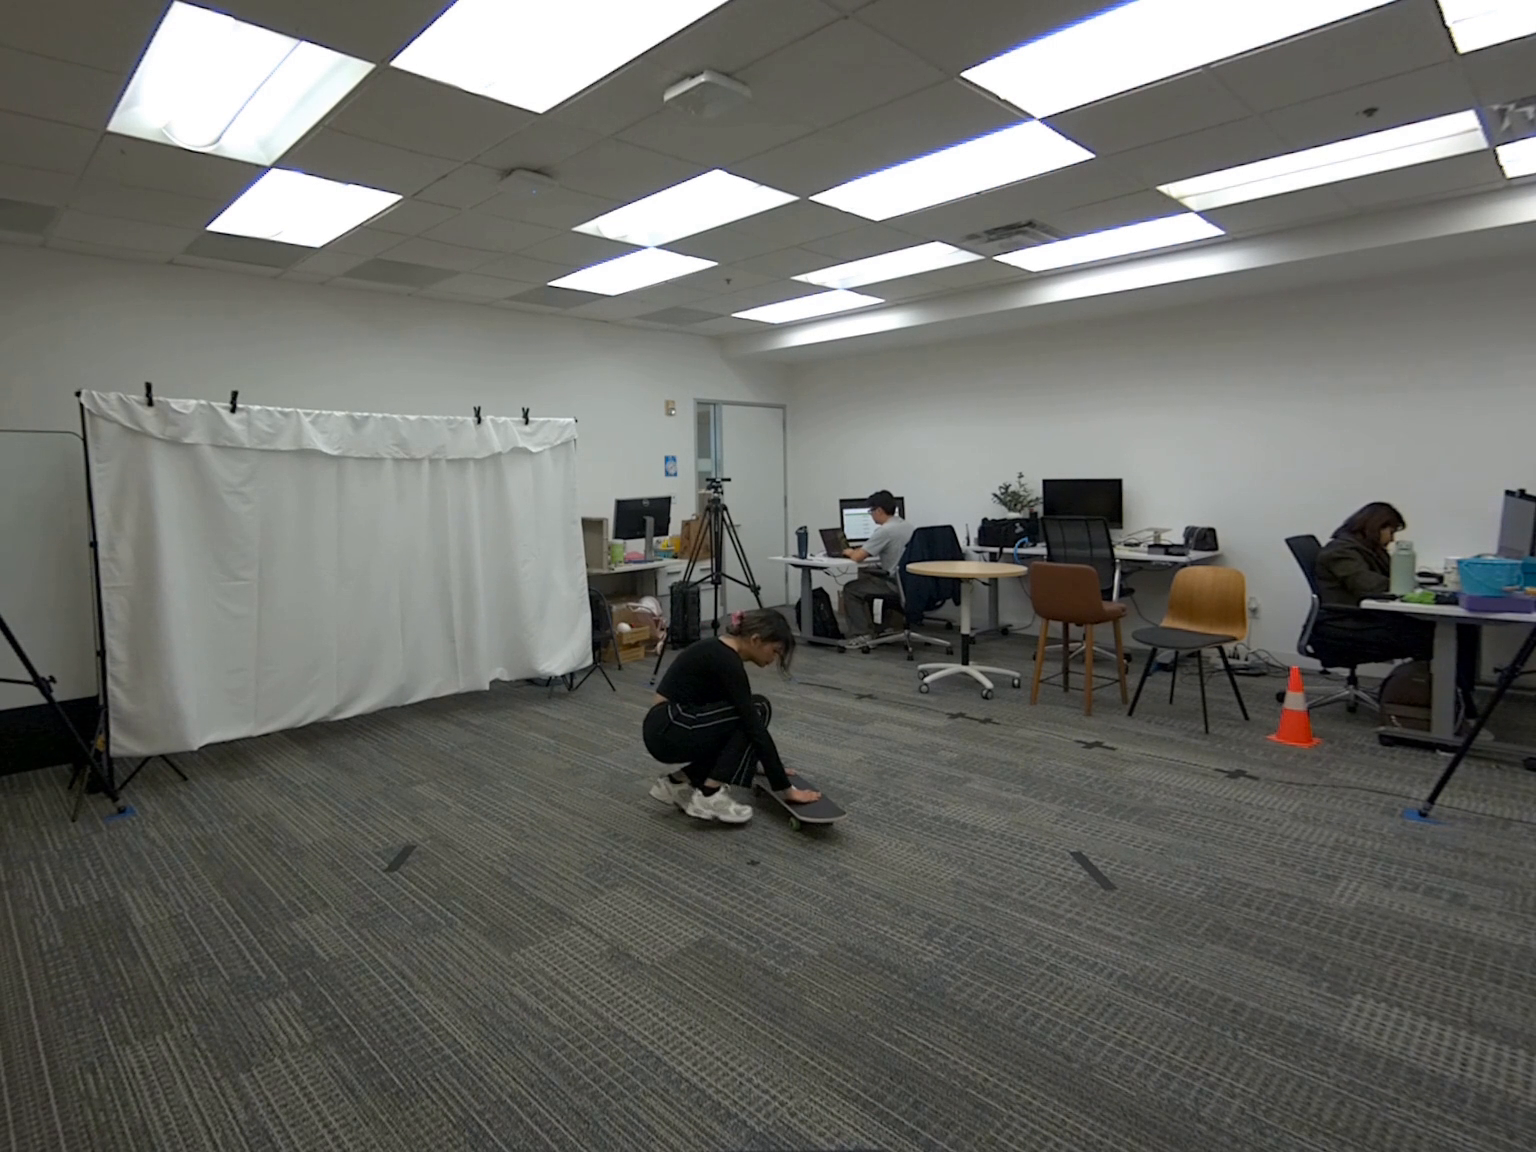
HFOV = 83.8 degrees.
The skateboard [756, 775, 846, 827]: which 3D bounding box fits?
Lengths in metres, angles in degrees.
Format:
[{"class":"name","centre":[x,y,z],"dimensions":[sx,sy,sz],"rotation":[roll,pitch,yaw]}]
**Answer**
[{"class":"skateboard","centre":[0.098,0.922,3.596],"dimensions":[0.190,0.110,0.803],"rotation":[-3,6,-21]}]
